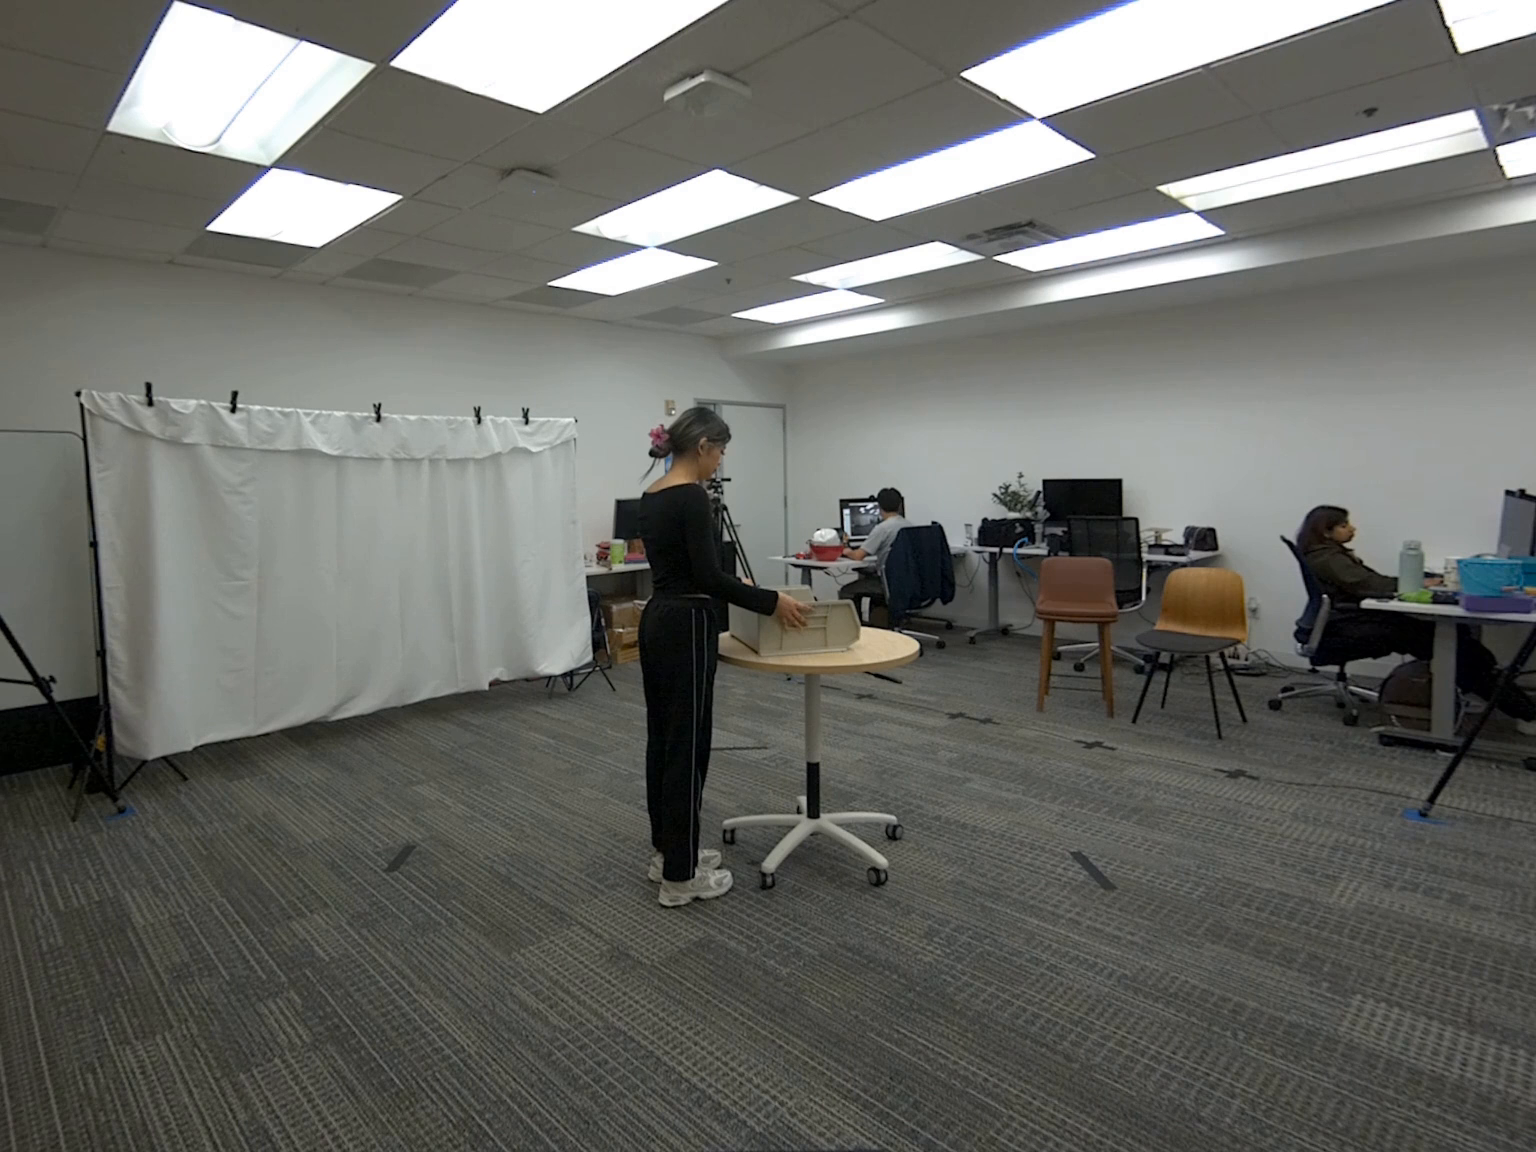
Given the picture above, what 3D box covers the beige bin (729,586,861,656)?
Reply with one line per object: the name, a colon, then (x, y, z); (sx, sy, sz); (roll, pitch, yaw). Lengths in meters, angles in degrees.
beige bin: (0.085, 0.154, 3.120); (0.372, 0.188, 0.431); (-3, 7, -16)
